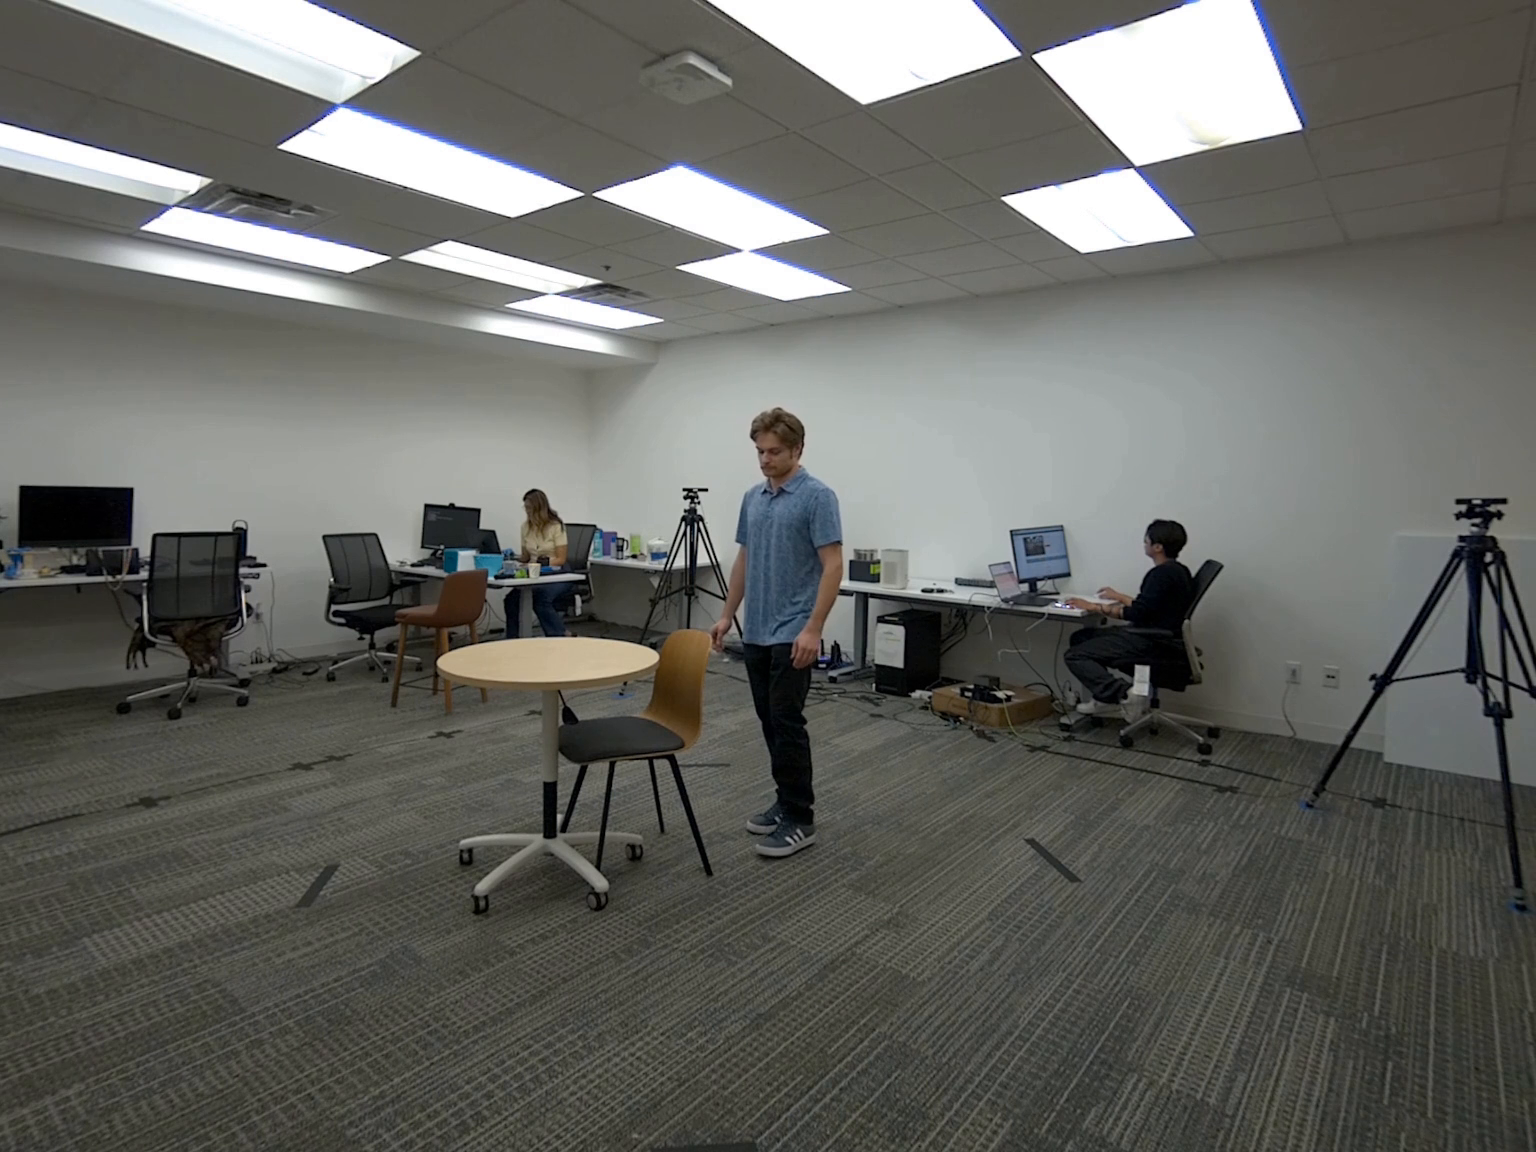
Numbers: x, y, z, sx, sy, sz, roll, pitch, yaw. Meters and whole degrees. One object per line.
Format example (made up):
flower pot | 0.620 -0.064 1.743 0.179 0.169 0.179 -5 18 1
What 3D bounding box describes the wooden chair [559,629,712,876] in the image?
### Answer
wooden chair | -0.513 0.635 3.122 0.508 0.877 0.492 4 1 -29
